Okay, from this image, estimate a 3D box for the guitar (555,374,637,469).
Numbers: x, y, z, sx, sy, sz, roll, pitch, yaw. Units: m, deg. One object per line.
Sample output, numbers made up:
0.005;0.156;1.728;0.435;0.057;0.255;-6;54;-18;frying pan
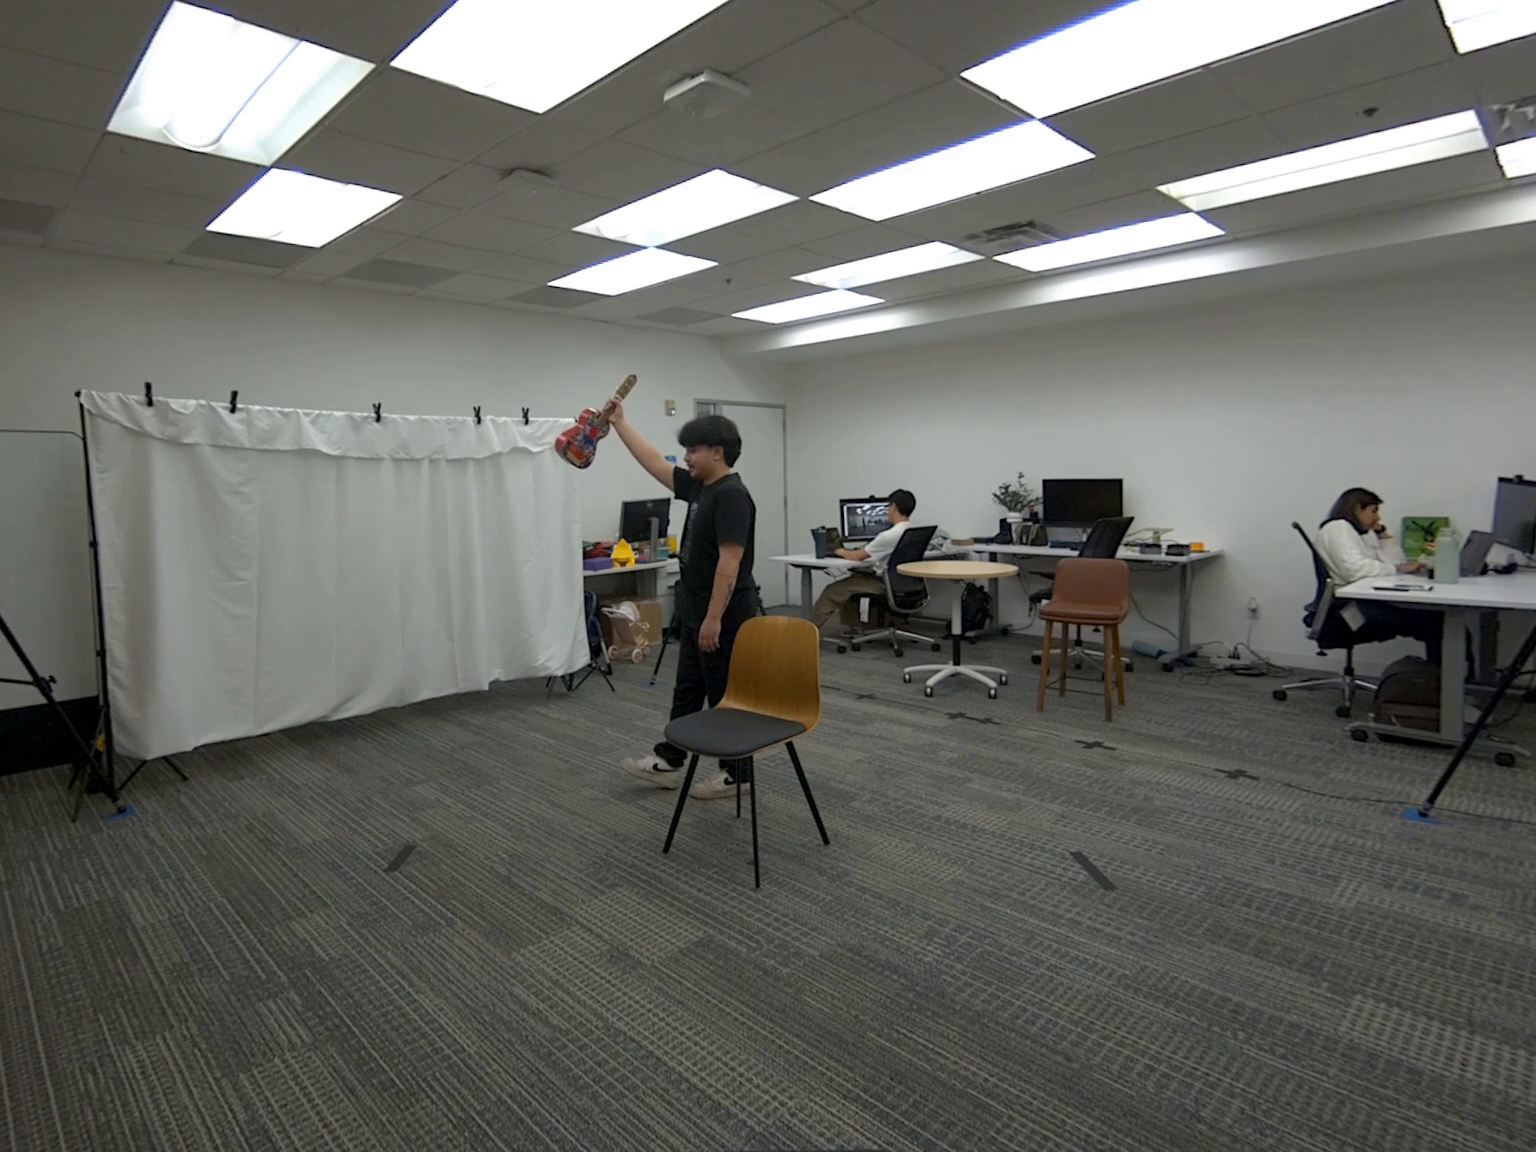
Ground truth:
-0.751;-0.699;3.877;0.073;0.498;0.185;28;-18;41;guitar
